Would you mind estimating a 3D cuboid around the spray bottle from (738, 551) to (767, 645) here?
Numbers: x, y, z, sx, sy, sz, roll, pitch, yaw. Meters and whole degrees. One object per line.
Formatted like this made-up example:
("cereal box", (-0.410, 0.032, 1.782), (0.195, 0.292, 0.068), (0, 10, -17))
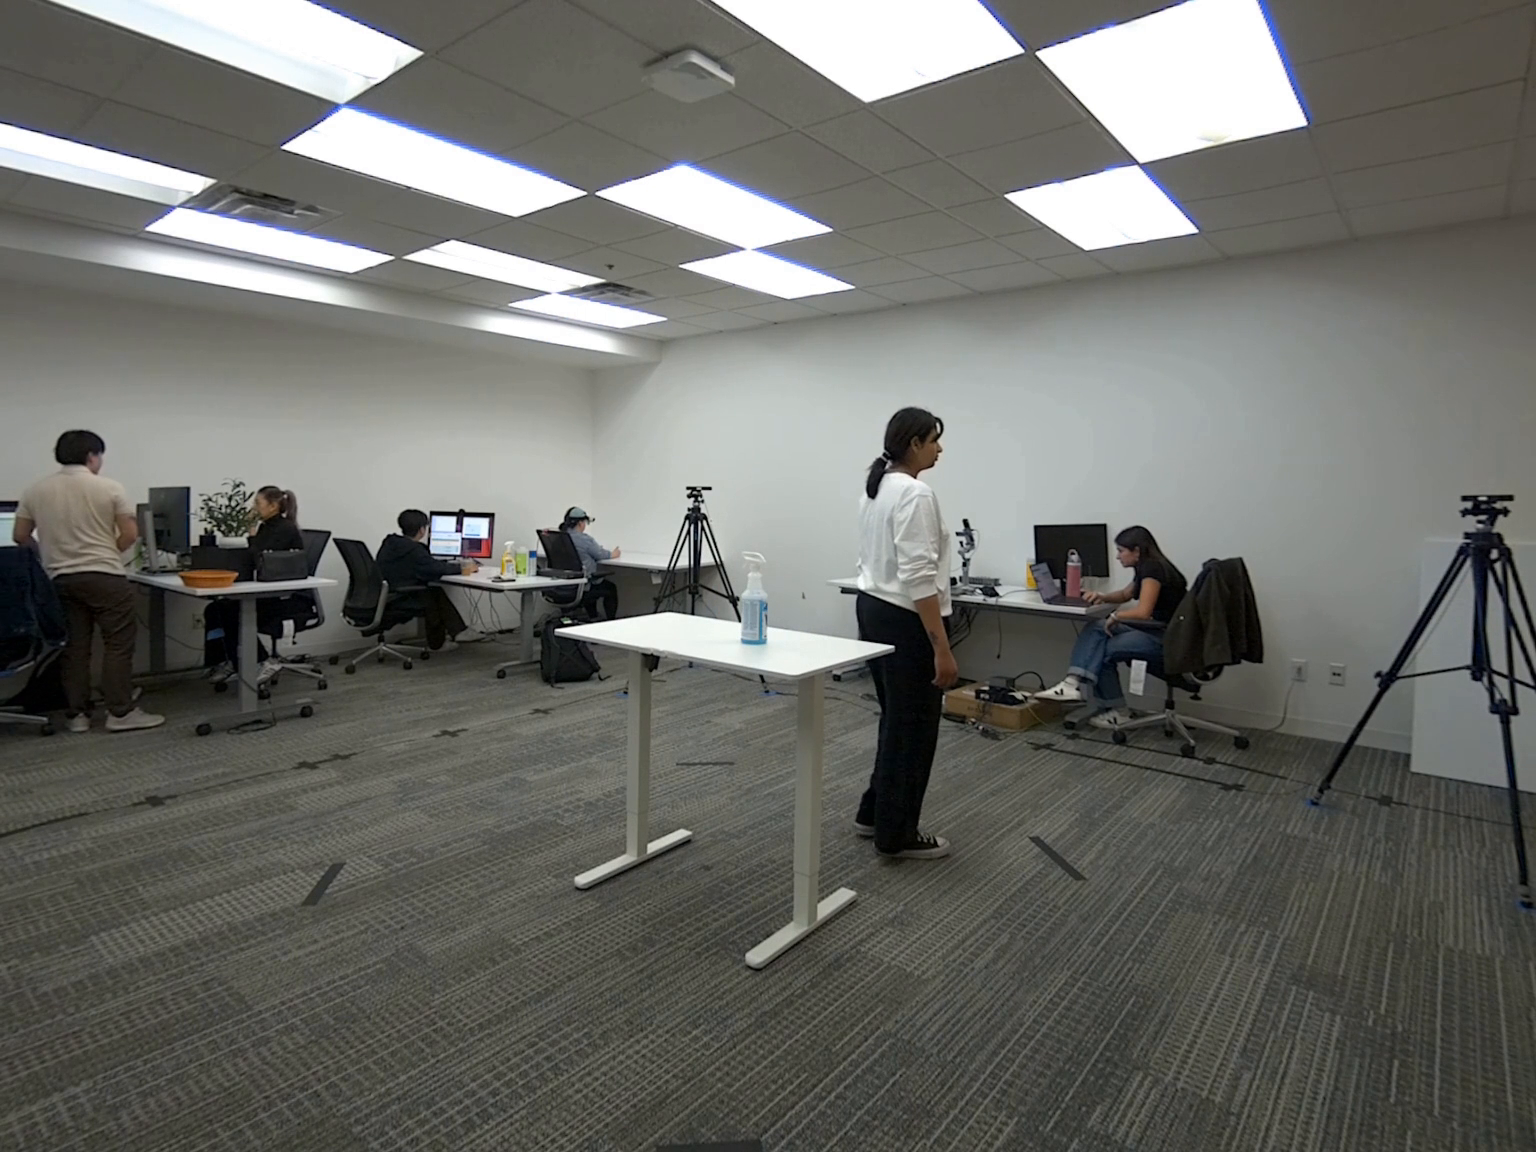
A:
("spray bottle", (-0.042, 0.072, 2.795), (0.085, 0.297, 0.092), (0, 2, -30))
